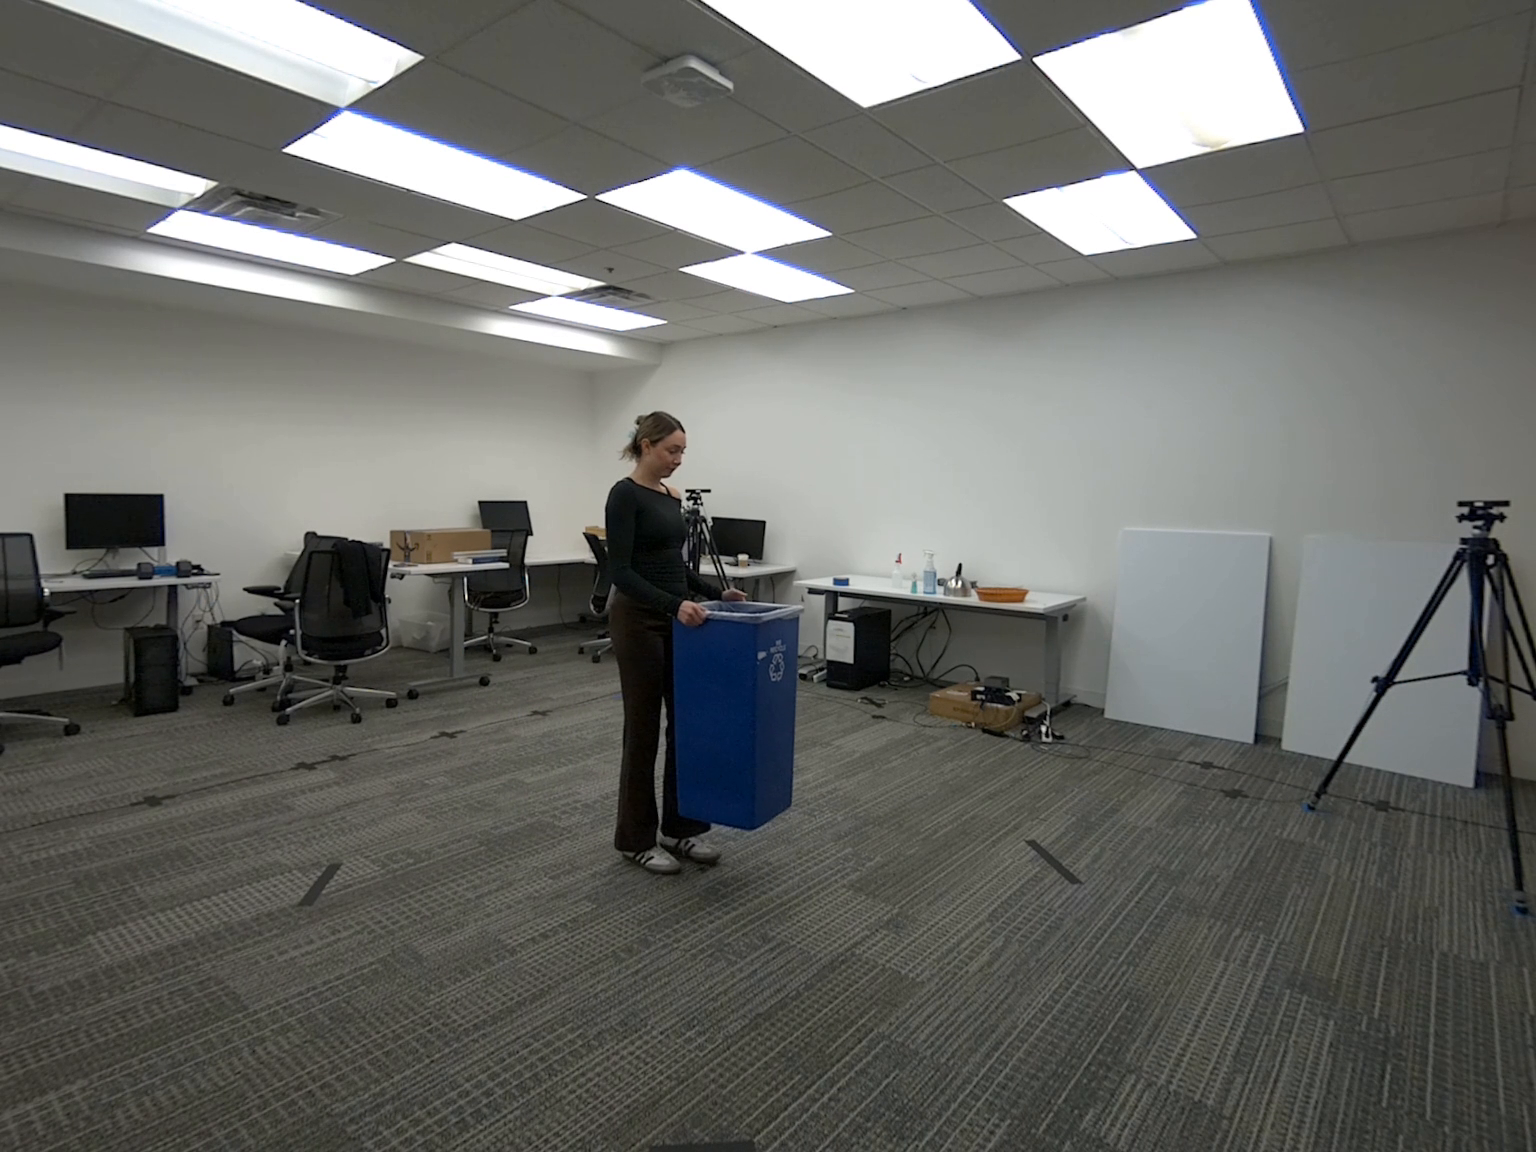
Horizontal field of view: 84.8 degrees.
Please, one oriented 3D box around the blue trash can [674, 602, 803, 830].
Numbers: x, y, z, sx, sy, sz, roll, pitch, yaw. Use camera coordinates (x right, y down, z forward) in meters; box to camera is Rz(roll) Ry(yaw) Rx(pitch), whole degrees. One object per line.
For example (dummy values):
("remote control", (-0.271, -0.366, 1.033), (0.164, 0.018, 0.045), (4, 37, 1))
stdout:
("blue trash can", (-0.119, 0.467, 2.983), (0.389, 0.712, 0.364), (1, 3, 30))
